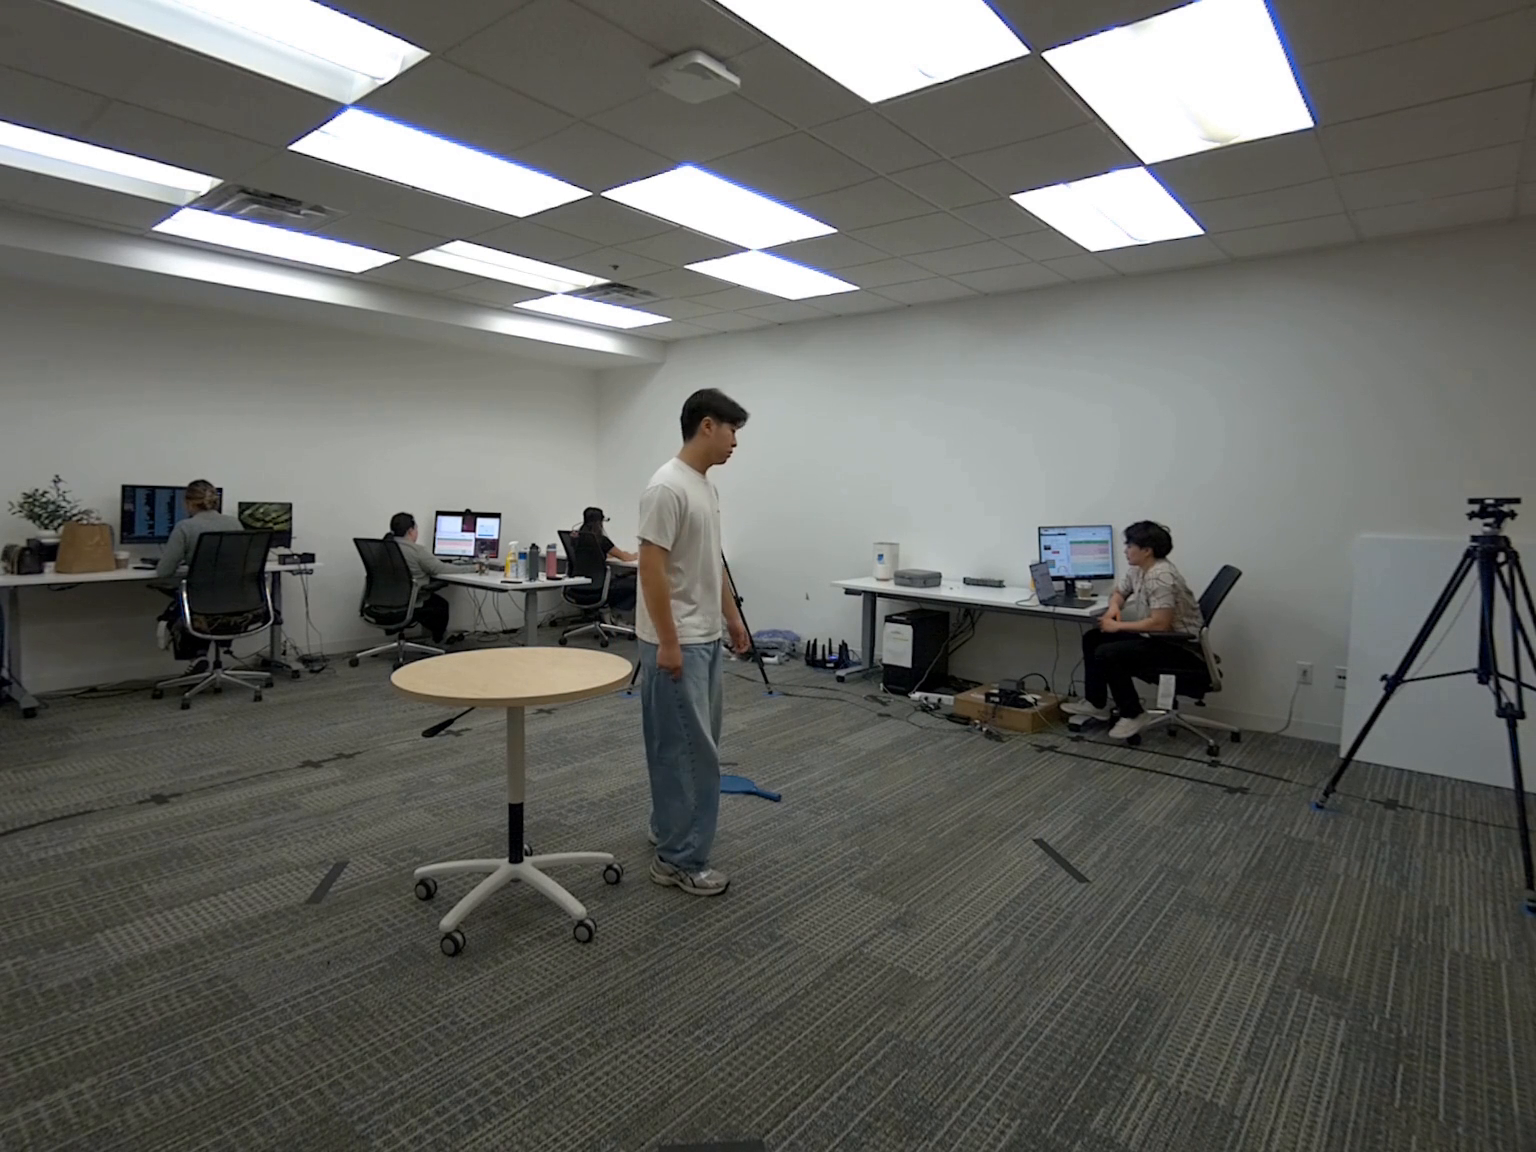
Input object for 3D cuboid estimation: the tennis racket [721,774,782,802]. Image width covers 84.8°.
[{"bbox_3d":[-0.129,0.974,3.937,0.447,0.031,0.207,4,7,41],"label":"tennis racket"}]
